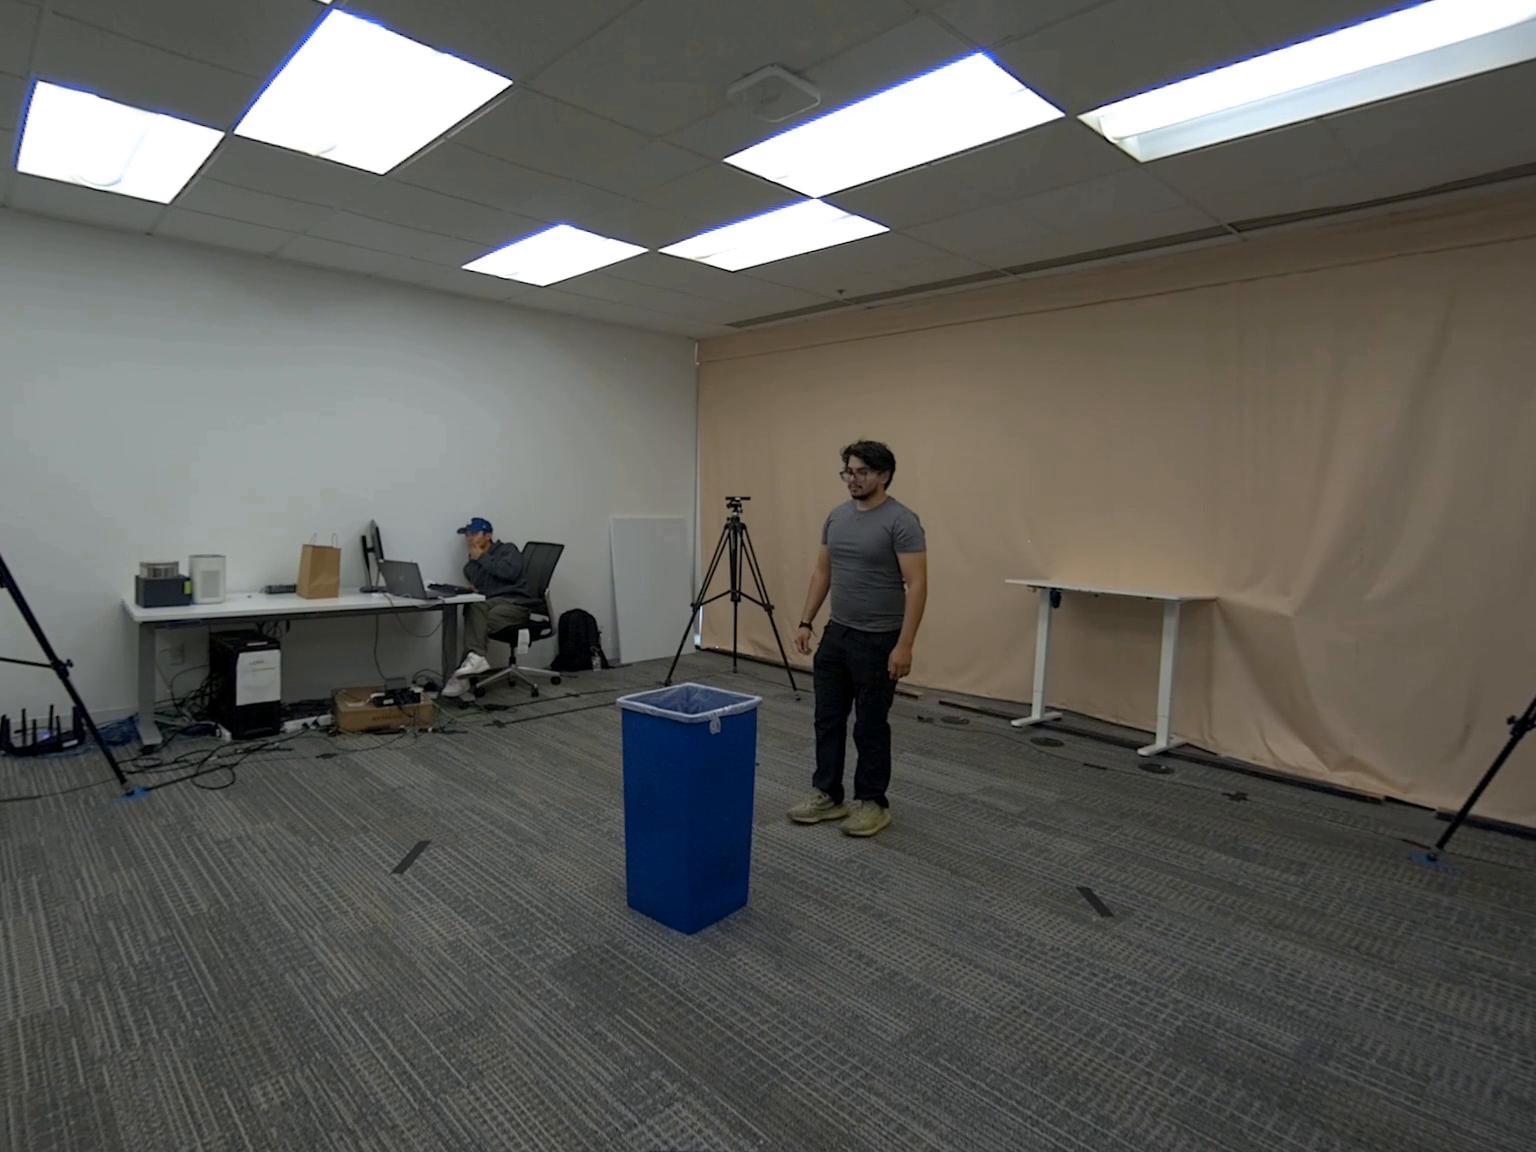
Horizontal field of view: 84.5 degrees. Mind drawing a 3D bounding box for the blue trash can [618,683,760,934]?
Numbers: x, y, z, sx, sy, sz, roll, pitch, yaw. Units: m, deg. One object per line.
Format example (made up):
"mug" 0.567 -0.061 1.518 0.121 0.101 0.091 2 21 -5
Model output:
"blue trash can" -0.282 0.768 2.862 0.383 0.712 0.369 4 4 39
